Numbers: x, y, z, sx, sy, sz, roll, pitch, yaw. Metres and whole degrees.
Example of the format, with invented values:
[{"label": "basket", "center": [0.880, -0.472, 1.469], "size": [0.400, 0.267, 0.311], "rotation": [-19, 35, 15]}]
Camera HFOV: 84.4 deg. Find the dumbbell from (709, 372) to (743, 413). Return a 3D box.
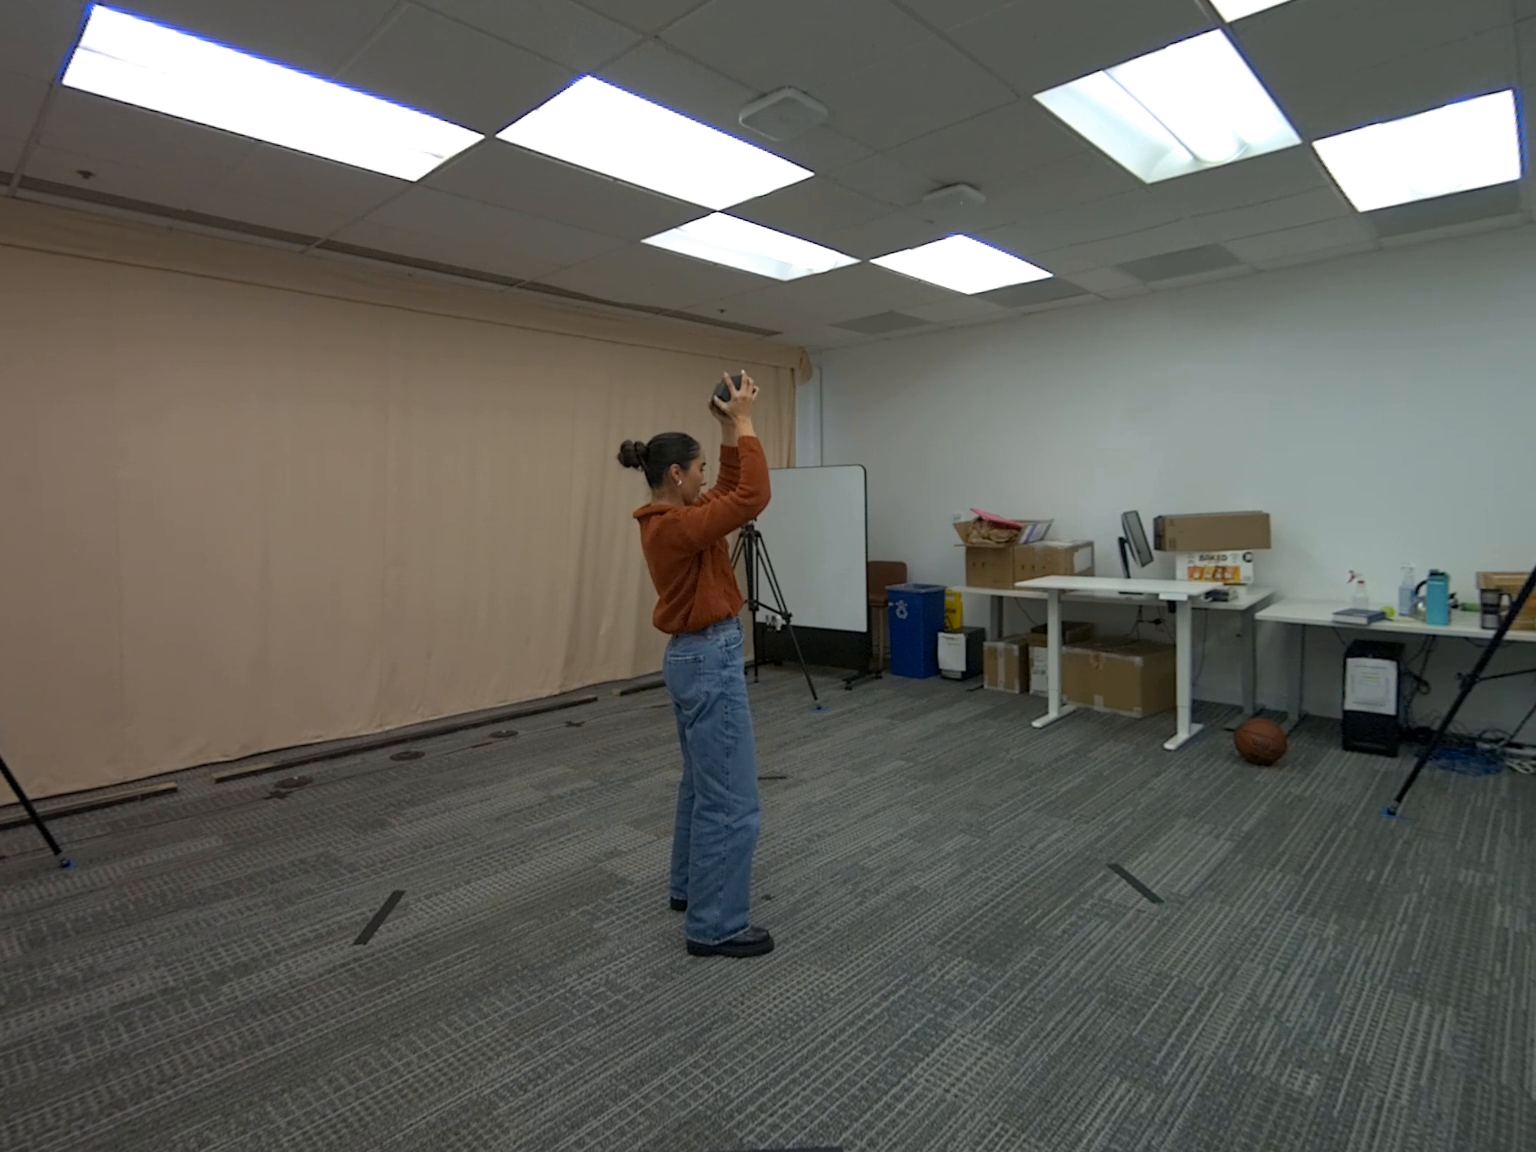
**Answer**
[{"label": "dumbbell", "center": [-0.111, -0.577, 2.701], "size": [0.109, 0.122, 0.296], "rotation": [-41, 9, 0]}]
